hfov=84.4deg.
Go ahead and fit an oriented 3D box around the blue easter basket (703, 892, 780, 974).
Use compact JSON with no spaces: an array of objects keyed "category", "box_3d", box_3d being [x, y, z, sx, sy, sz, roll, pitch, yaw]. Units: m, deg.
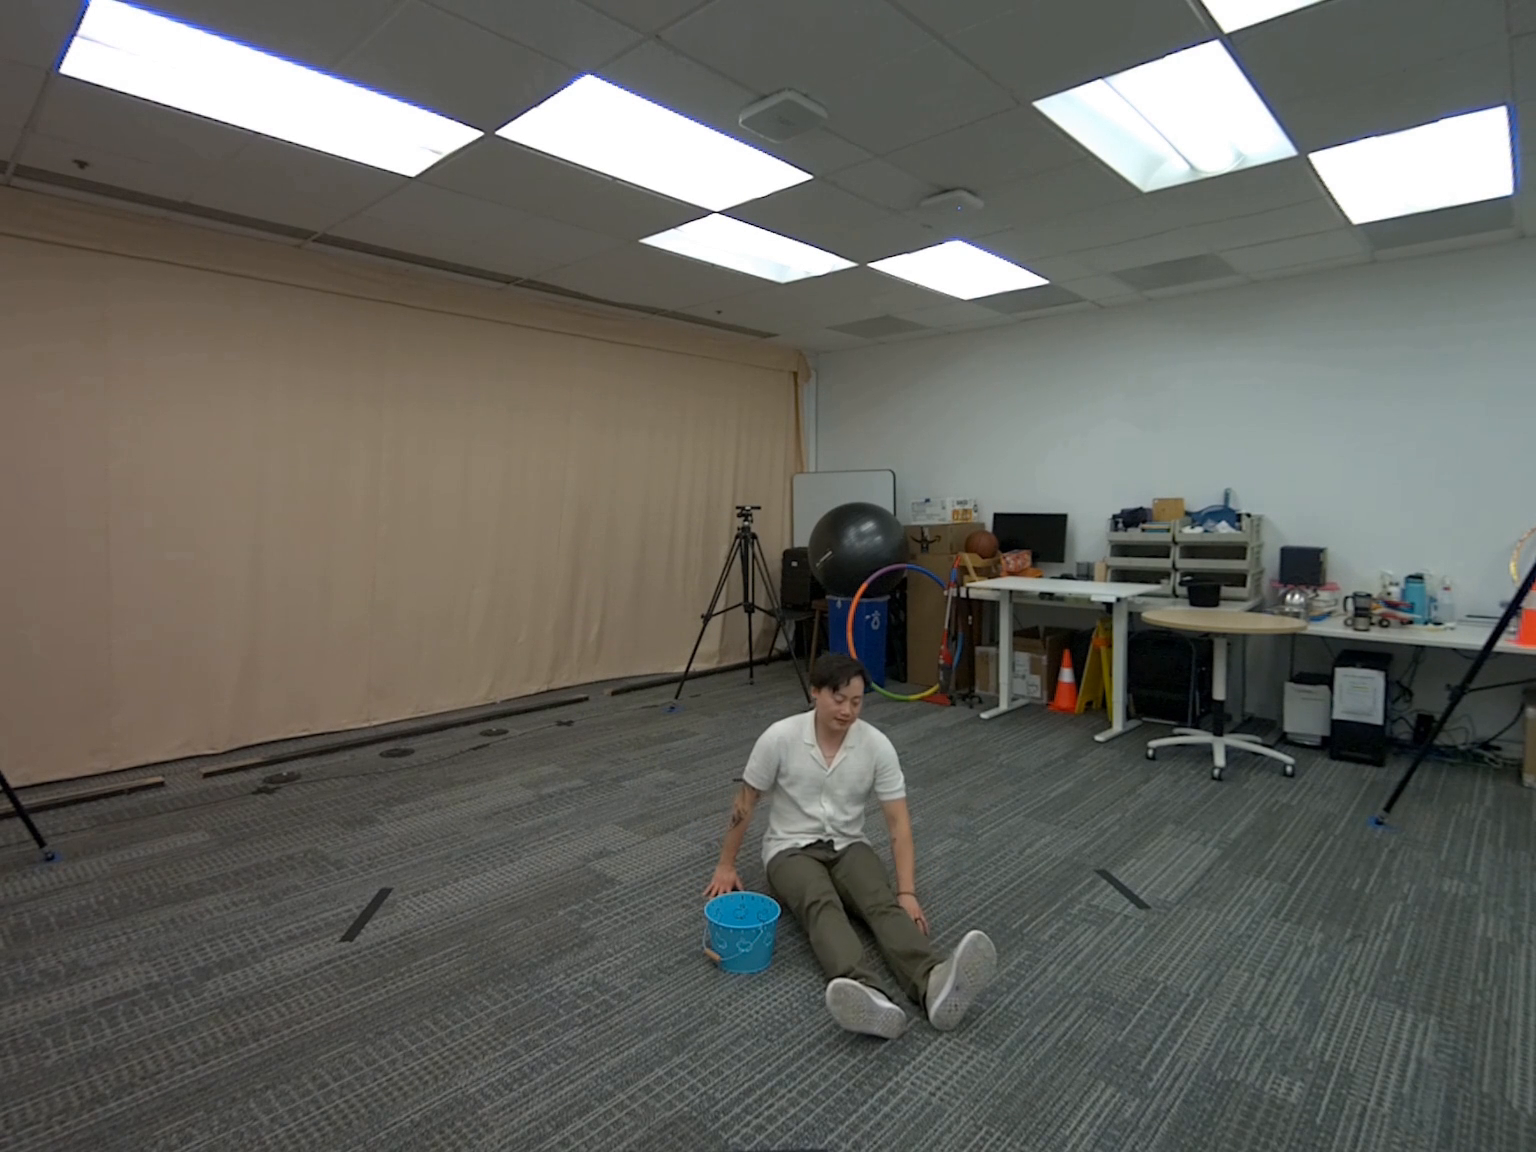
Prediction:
[{"category":"blue easter basket","box_3d":[-0.079,1.099,2.592,0.243,0.155,0.244,0,3,-2]}]
